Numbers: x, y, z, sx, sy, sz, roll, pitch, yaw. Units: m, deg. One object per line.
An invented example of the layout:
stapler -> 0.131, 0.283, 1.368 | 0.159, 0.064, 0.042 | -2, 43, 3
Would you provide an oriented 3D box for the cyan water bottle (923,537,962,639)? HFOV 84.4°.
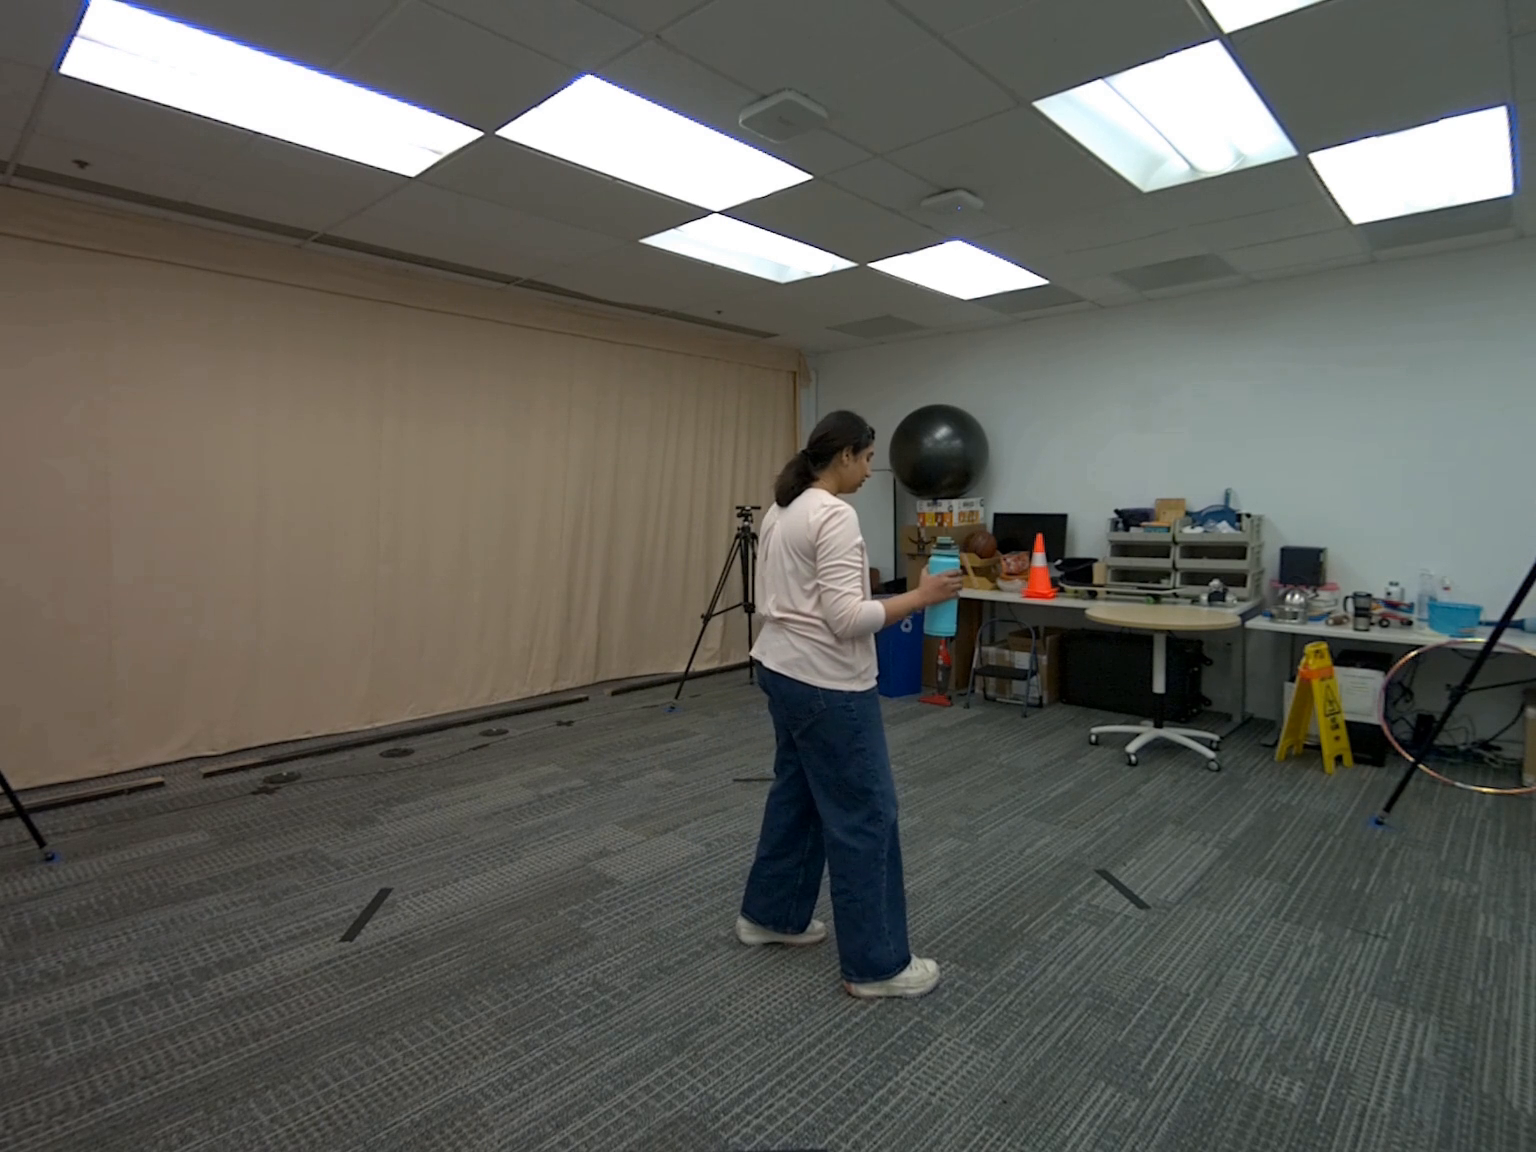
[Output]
cyan water bottle -> 0.519, 0.029, 2.444 | 0.092, 0.283, 0.092 | 4, 1, -2
